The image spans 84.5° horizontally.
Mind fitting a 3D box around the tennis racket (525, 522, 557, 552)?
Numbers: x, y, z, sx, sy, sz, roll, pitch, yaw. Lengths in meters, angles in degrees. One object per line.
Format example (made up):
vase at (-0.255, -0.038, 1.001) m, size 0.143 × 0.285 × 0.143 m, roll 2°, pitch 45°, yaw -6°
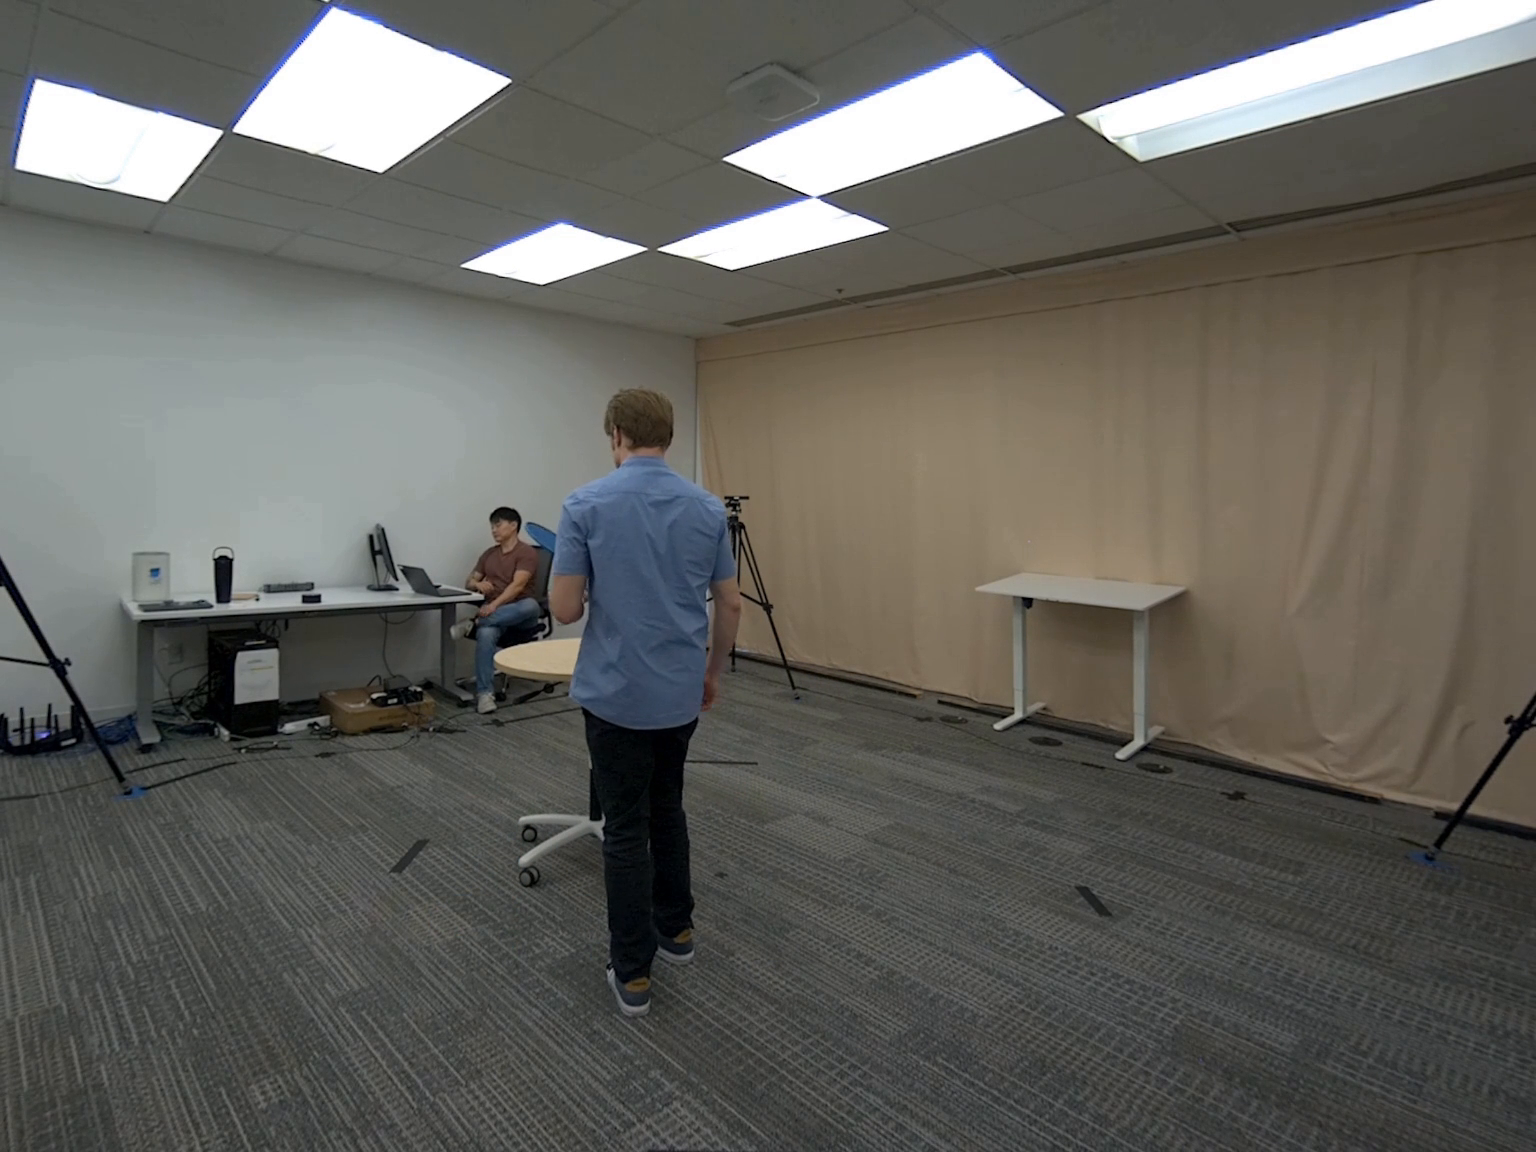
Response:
tennis racket at (-0.670, -0.062, 2.681) m, size 0.207 × 0.032 × 0.447 m, roll 33°, pitch 7°, yaw -41°
